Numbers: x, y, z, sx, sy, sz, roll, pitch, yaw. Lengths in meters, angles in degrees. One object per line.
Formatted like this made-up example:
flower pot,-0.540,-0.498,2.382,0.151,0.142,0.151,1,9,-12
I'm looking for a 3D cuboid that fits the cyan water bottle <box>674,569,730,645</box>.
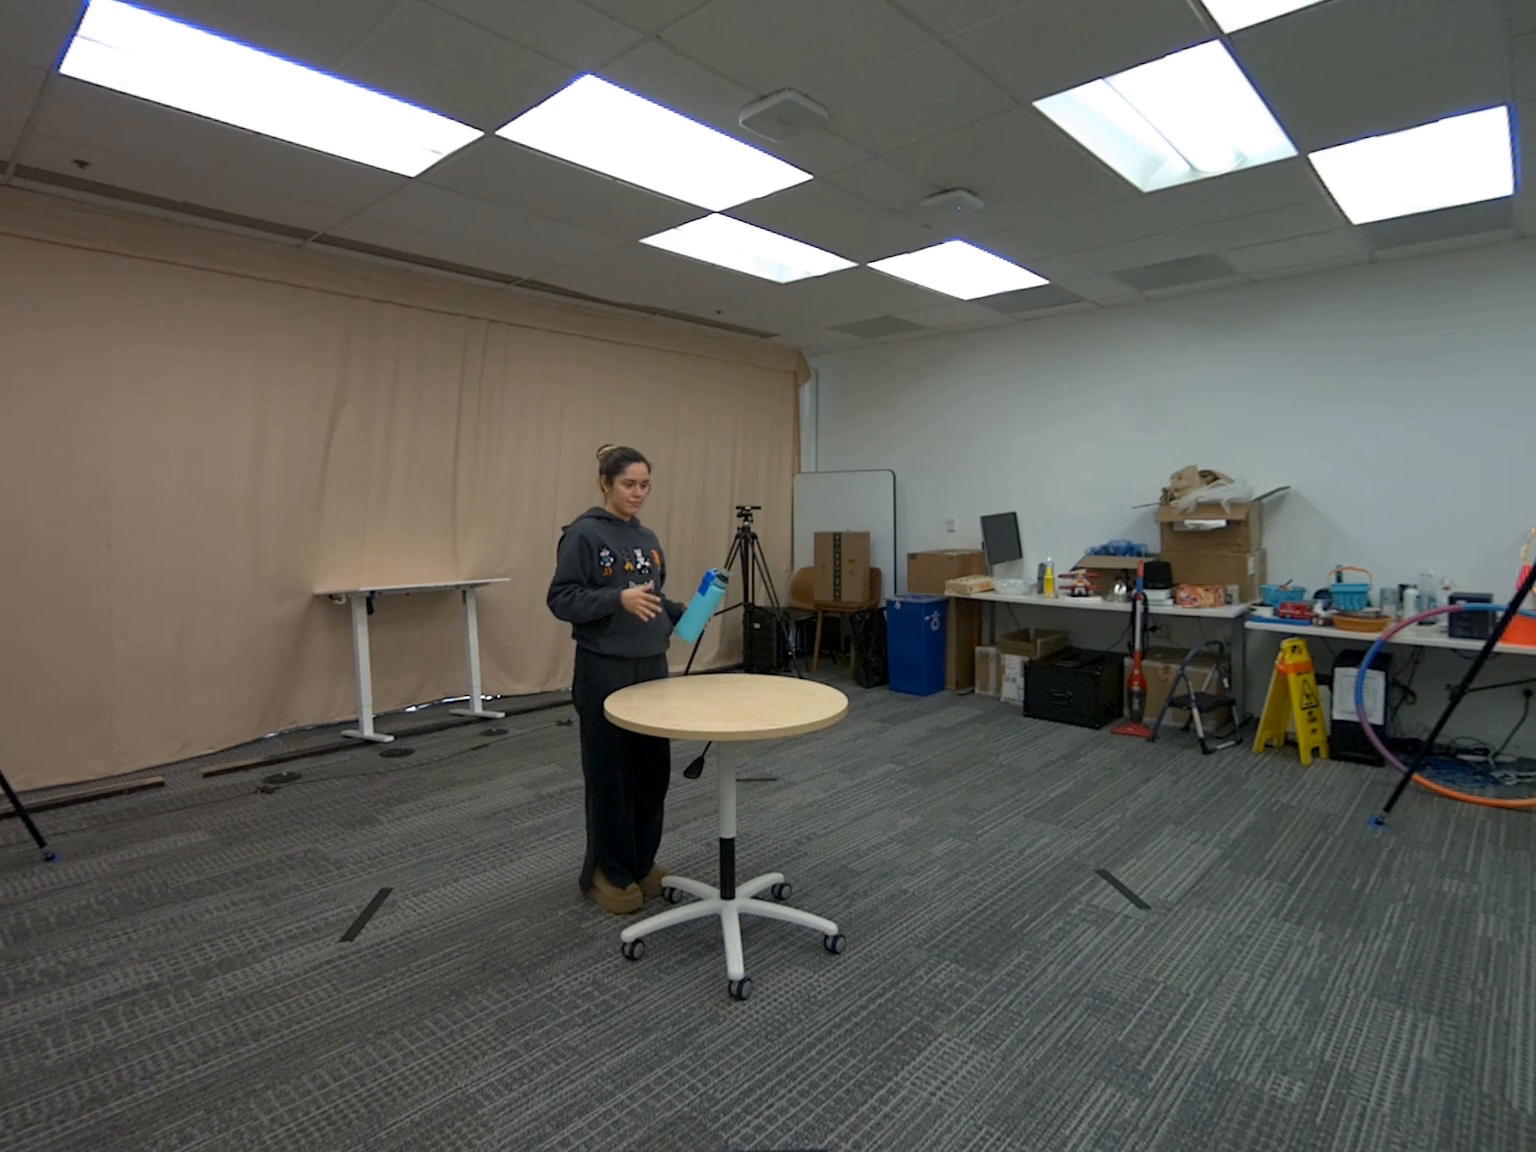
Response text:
cyan water bottle,-0.226,0.077,2.968,0.091,0.283,0.093,27,12,-8
